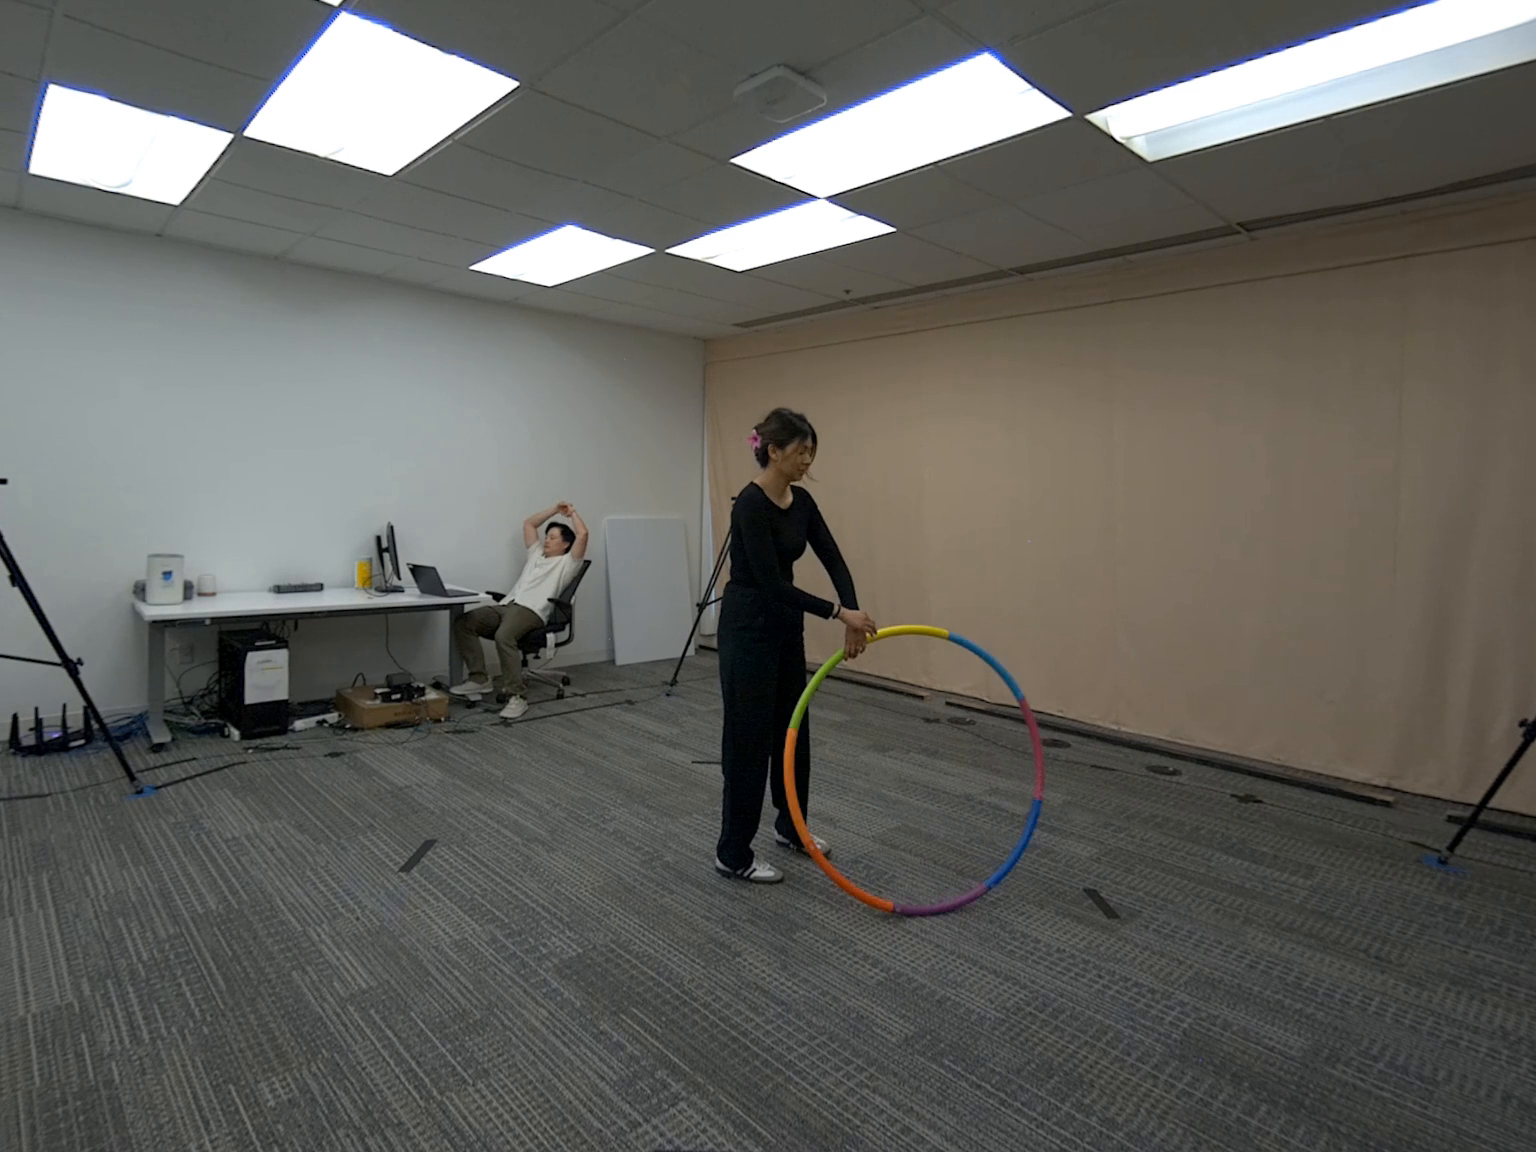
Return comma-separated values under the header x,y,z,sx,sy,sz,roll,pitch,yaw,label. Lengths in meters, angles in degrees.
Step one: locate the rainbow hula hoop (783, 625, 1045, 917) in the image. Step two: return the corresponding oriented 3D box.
x,y,z,sx,sy,sz,roll,pitch,yaw,label
0.524,0.666,2.939,0.967,0.987,0.035,0,-12,-15,rainbow hula hoop
